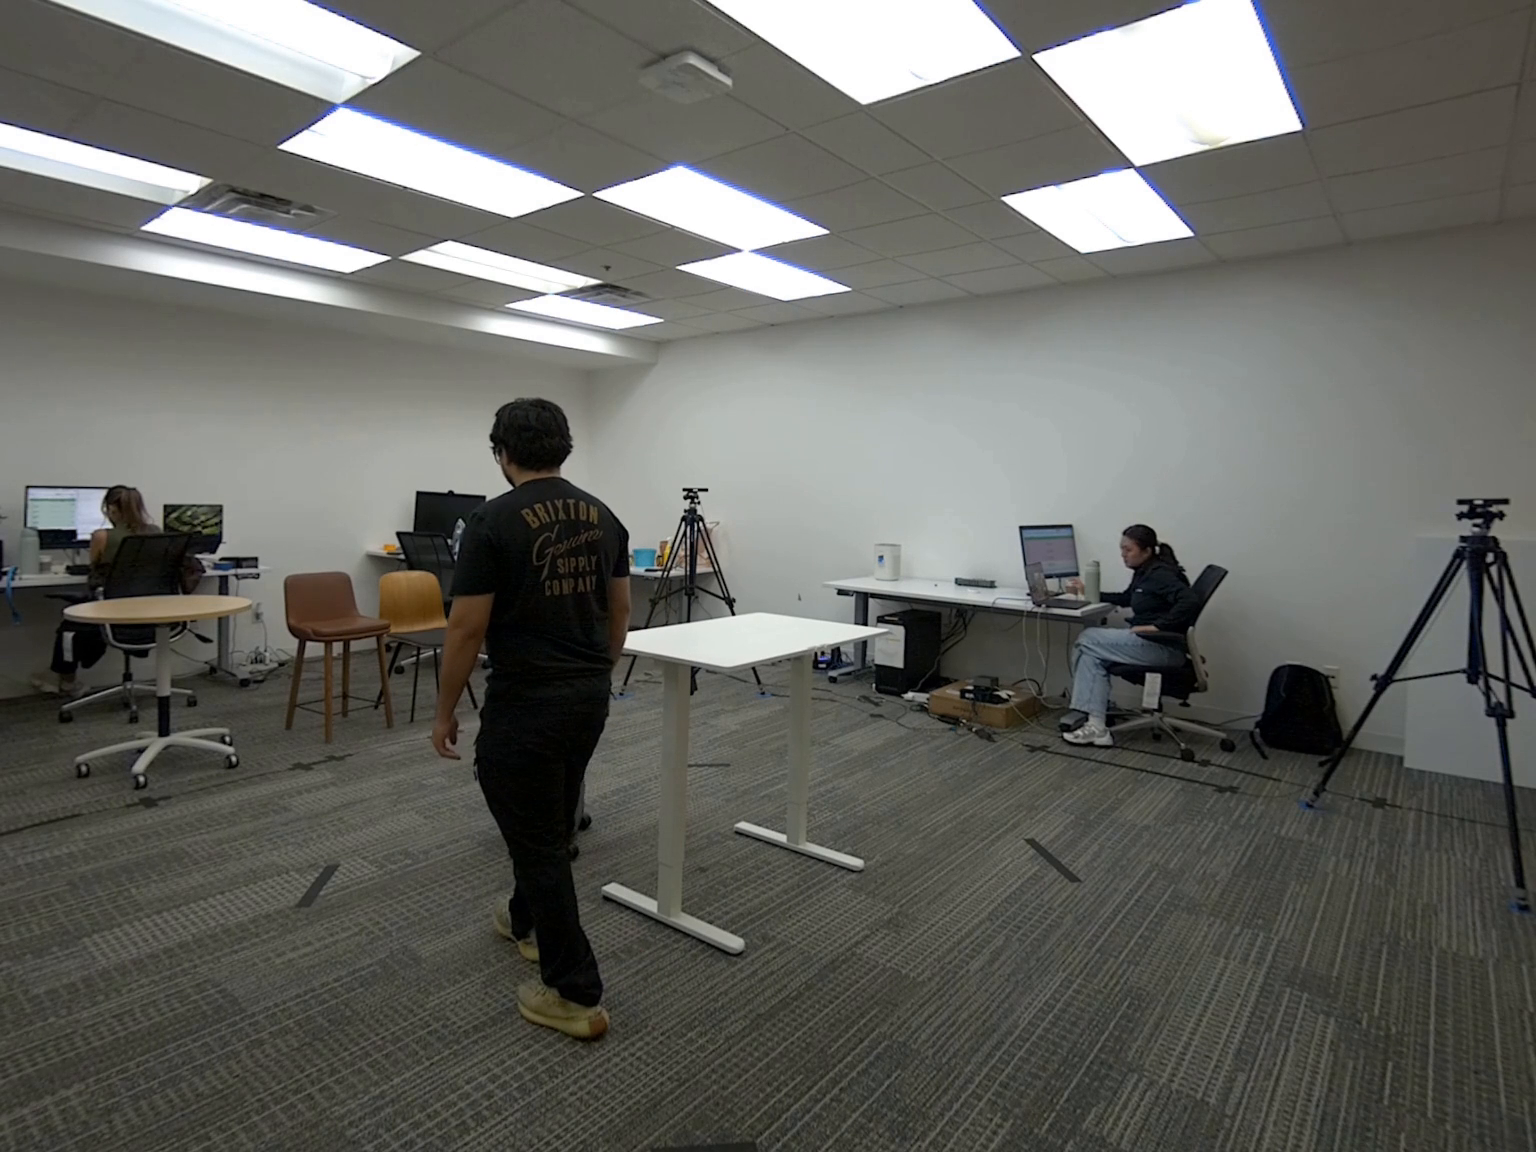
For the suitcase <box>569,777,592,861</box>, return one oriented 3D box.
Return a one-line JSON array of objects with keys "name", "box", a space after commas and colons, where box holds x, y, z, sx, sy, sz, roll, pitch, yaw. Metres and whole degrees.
[{"name": "suitcase", "box": [-0.874, 0.764, 3.321, 0.248, 0.548, 0.377, -2, 2, -4]}]
